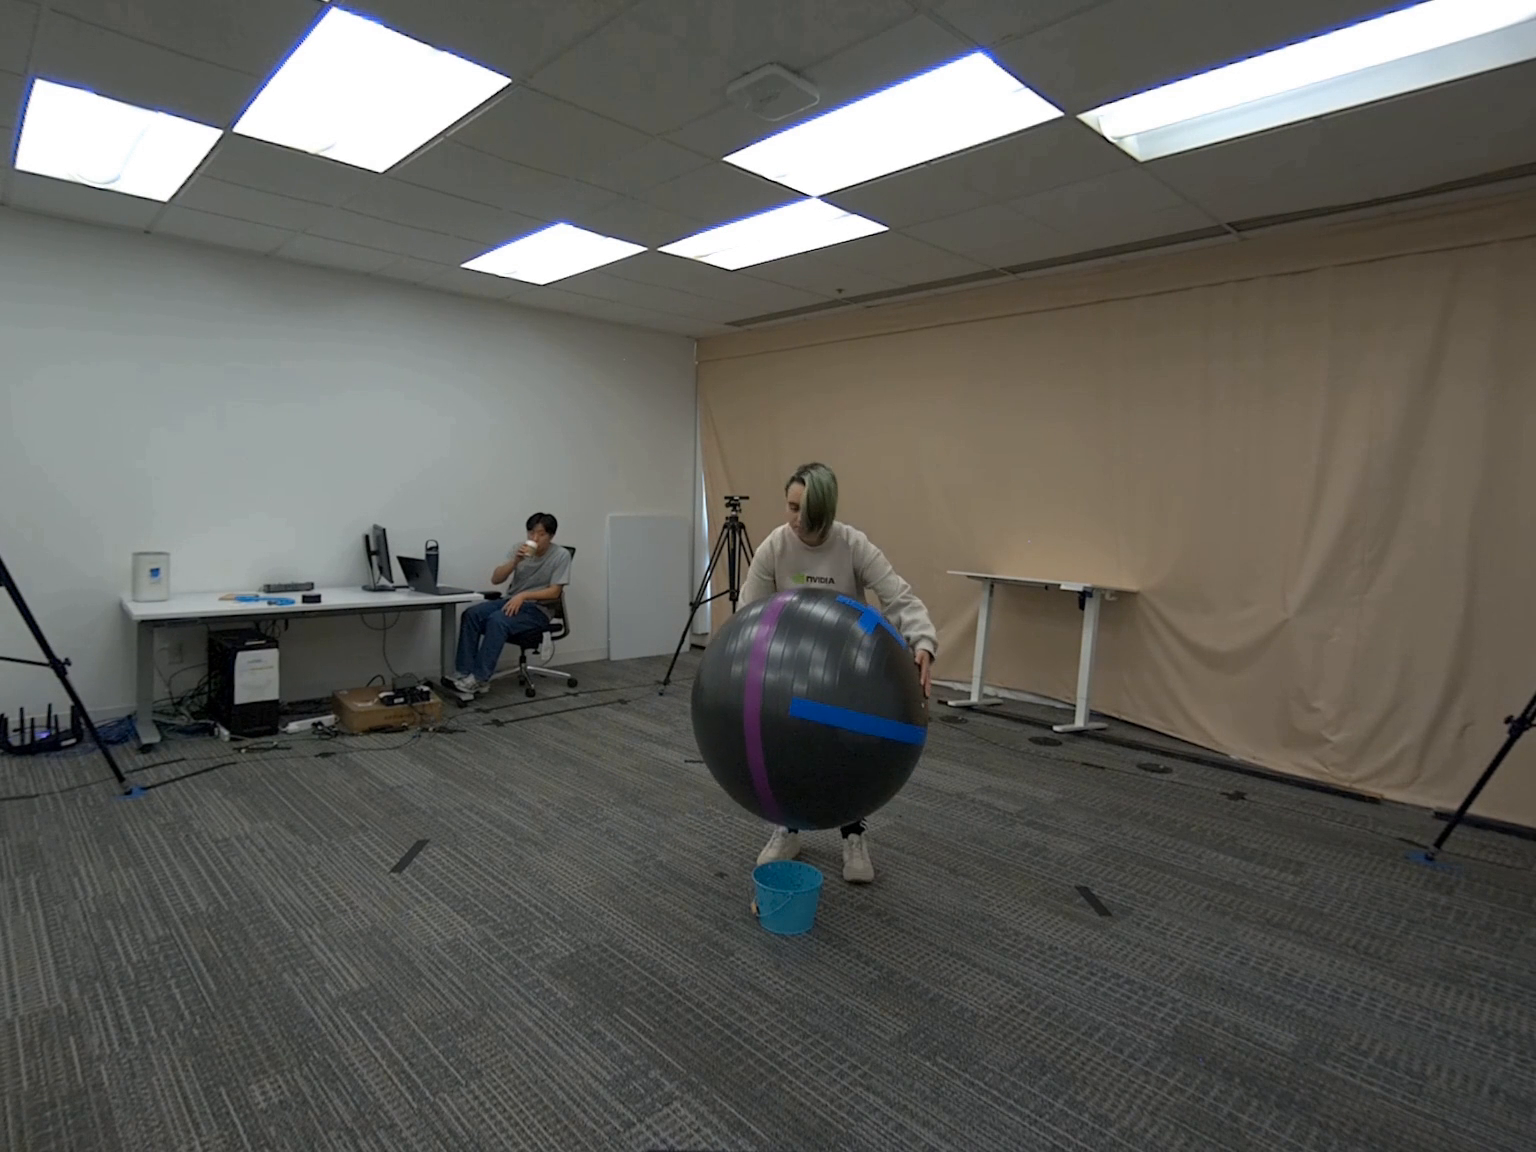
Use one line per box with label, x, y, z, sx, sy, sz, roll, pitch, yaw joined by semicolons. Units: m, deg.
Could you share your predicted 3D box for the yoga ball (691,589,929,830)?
yoga ball;0.123;0.426;2.709;0.757;0.756;0.761;1;4;-1
